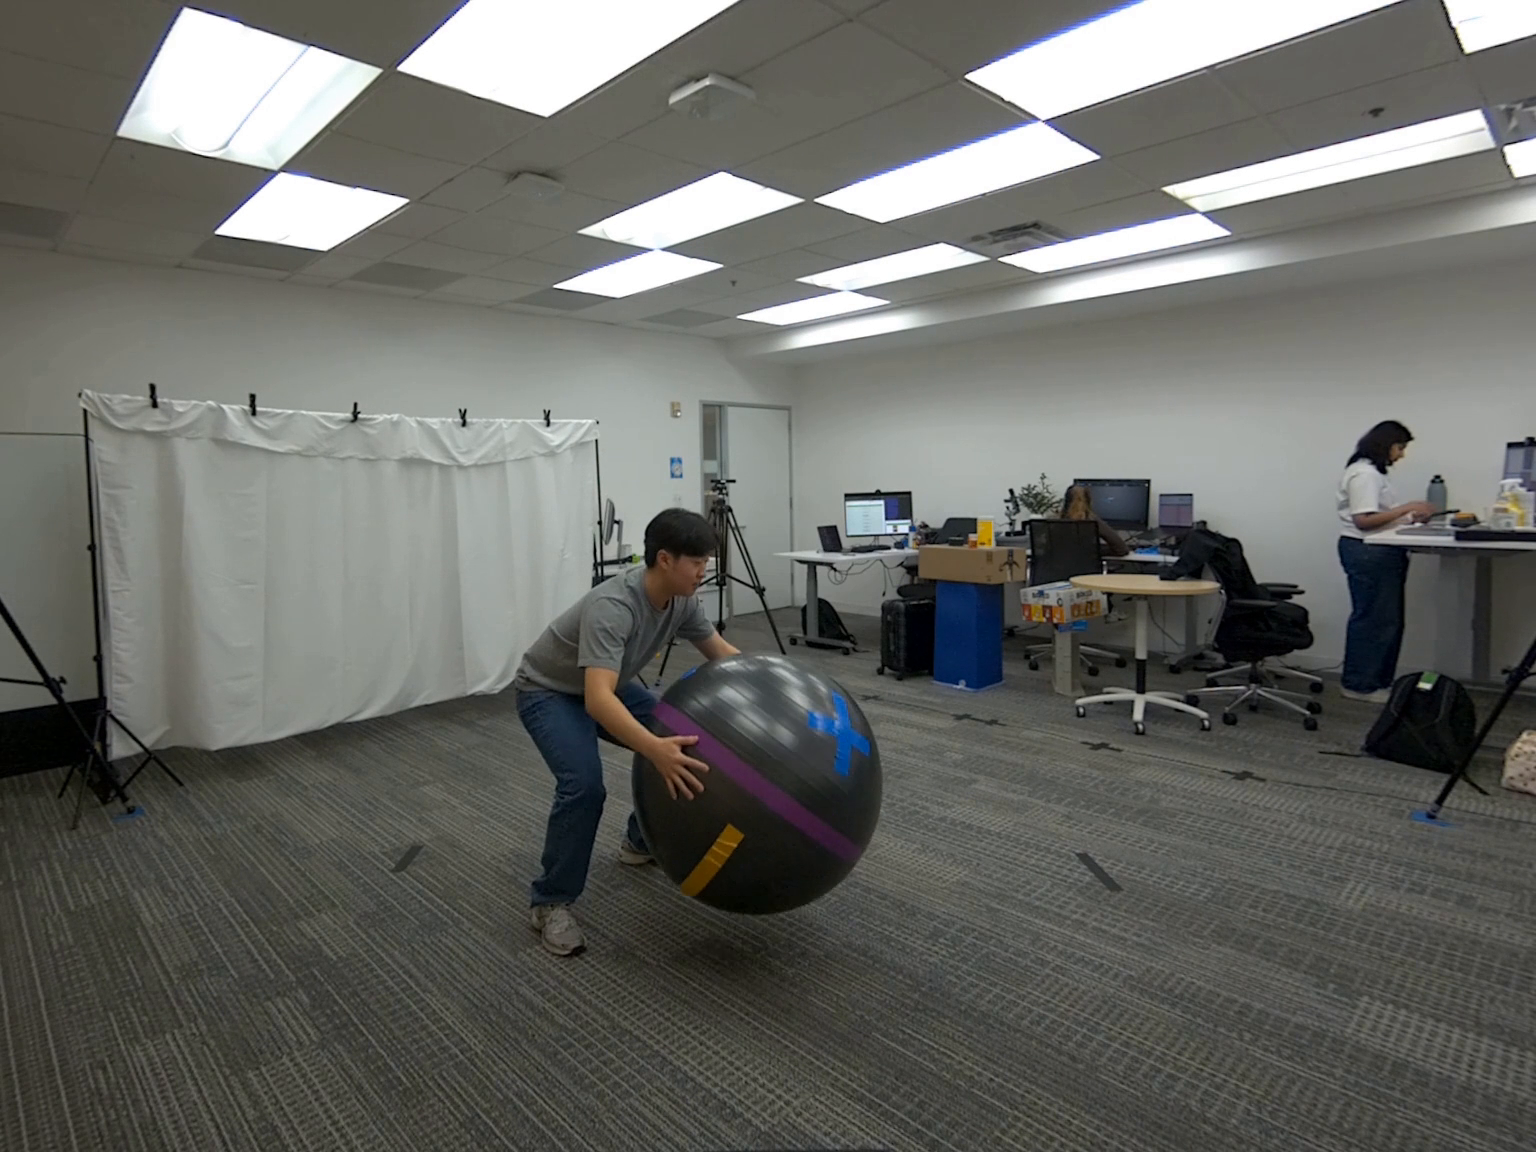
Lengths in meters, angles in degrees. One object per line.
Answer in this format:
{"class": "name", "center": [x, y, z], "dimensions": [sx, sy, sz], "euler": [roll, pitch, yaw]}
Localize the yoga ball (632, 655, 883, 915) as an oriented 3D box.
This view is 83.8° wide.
{"class": "yoga ball", "center": [-0.030, 0.613, 2.581], "dimensions": [0.757, 0.755, 0.762], "euler": [-1, 5, -2]}
